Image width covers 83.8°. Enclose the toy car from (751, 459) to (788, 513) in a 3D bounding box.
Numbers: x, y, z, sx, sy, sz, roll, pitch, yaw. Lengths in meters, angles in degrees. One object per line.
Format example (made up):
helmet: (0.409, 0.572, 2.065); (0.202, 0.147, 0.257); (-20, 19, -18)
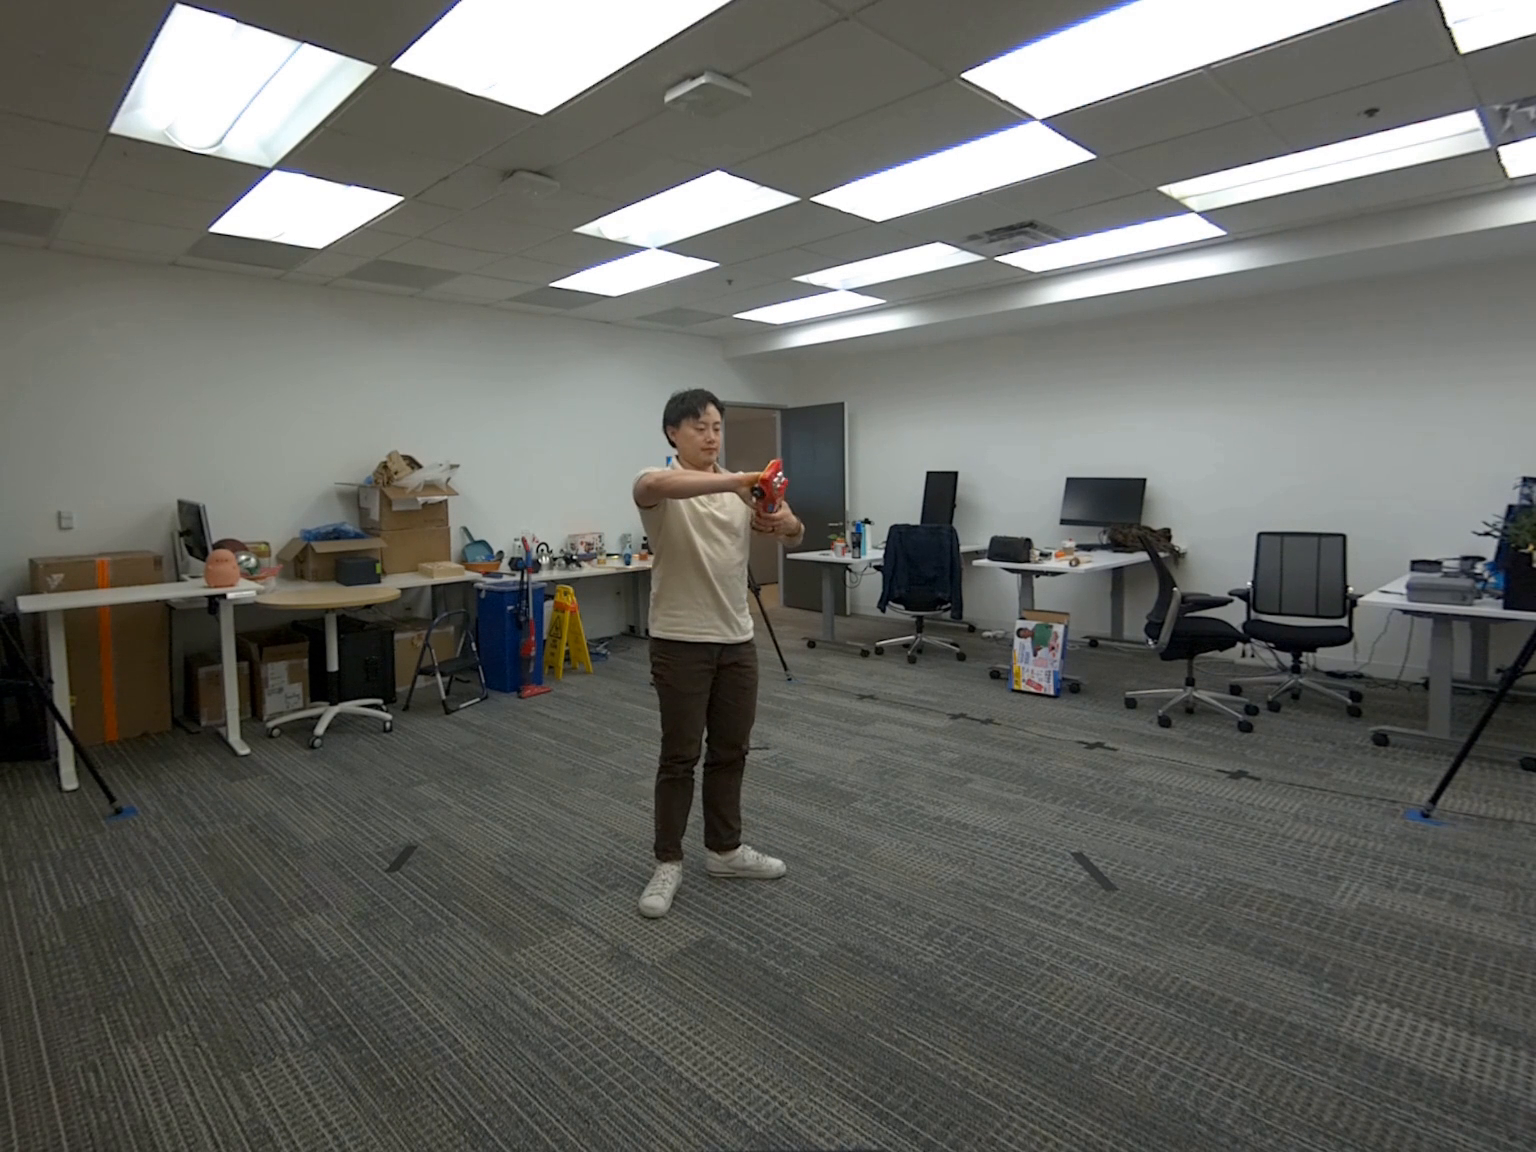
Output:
toy car: (-0.001, -0.244, 2.546); (0.084, 0.131, 0.250); (29, -36, 8)
